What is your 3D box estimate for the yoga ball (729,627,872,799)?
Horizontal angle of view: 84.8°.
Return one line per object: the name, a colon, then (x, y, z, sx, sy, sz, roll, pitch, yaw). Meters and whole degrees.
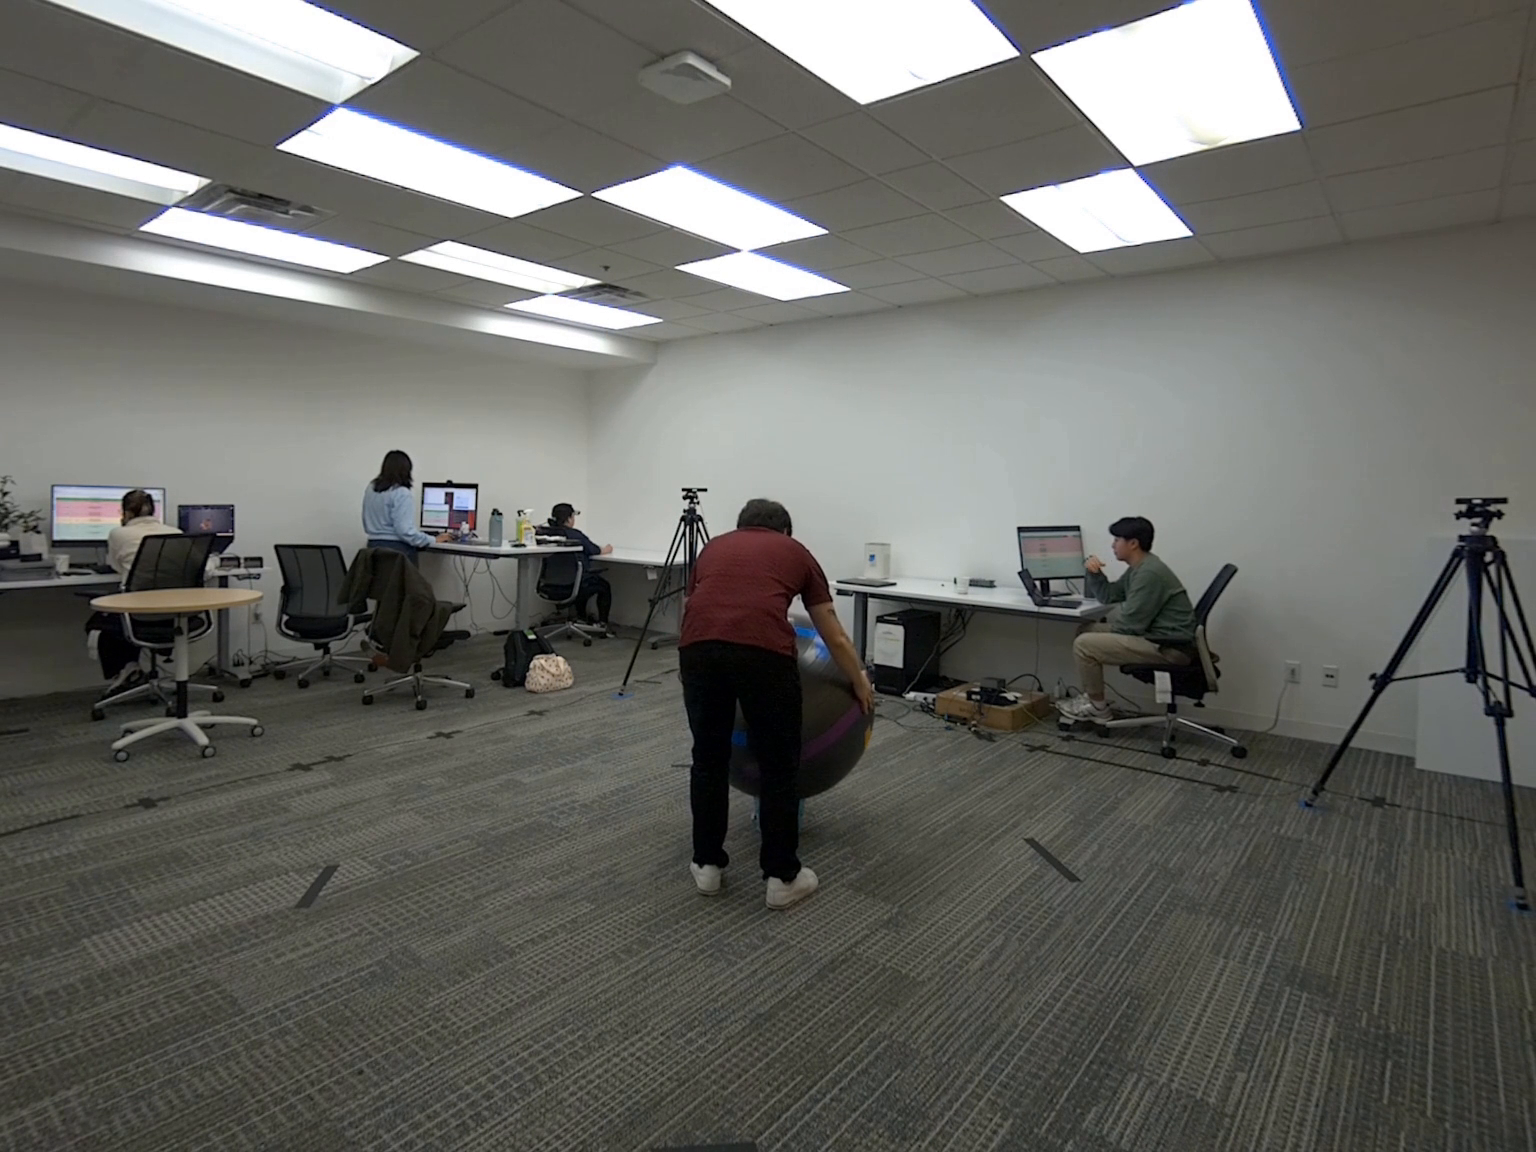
yoga ball: (0.047, 0.532, 3.481, 0.757, 0.756, 0.762, 1, 4, -2)
